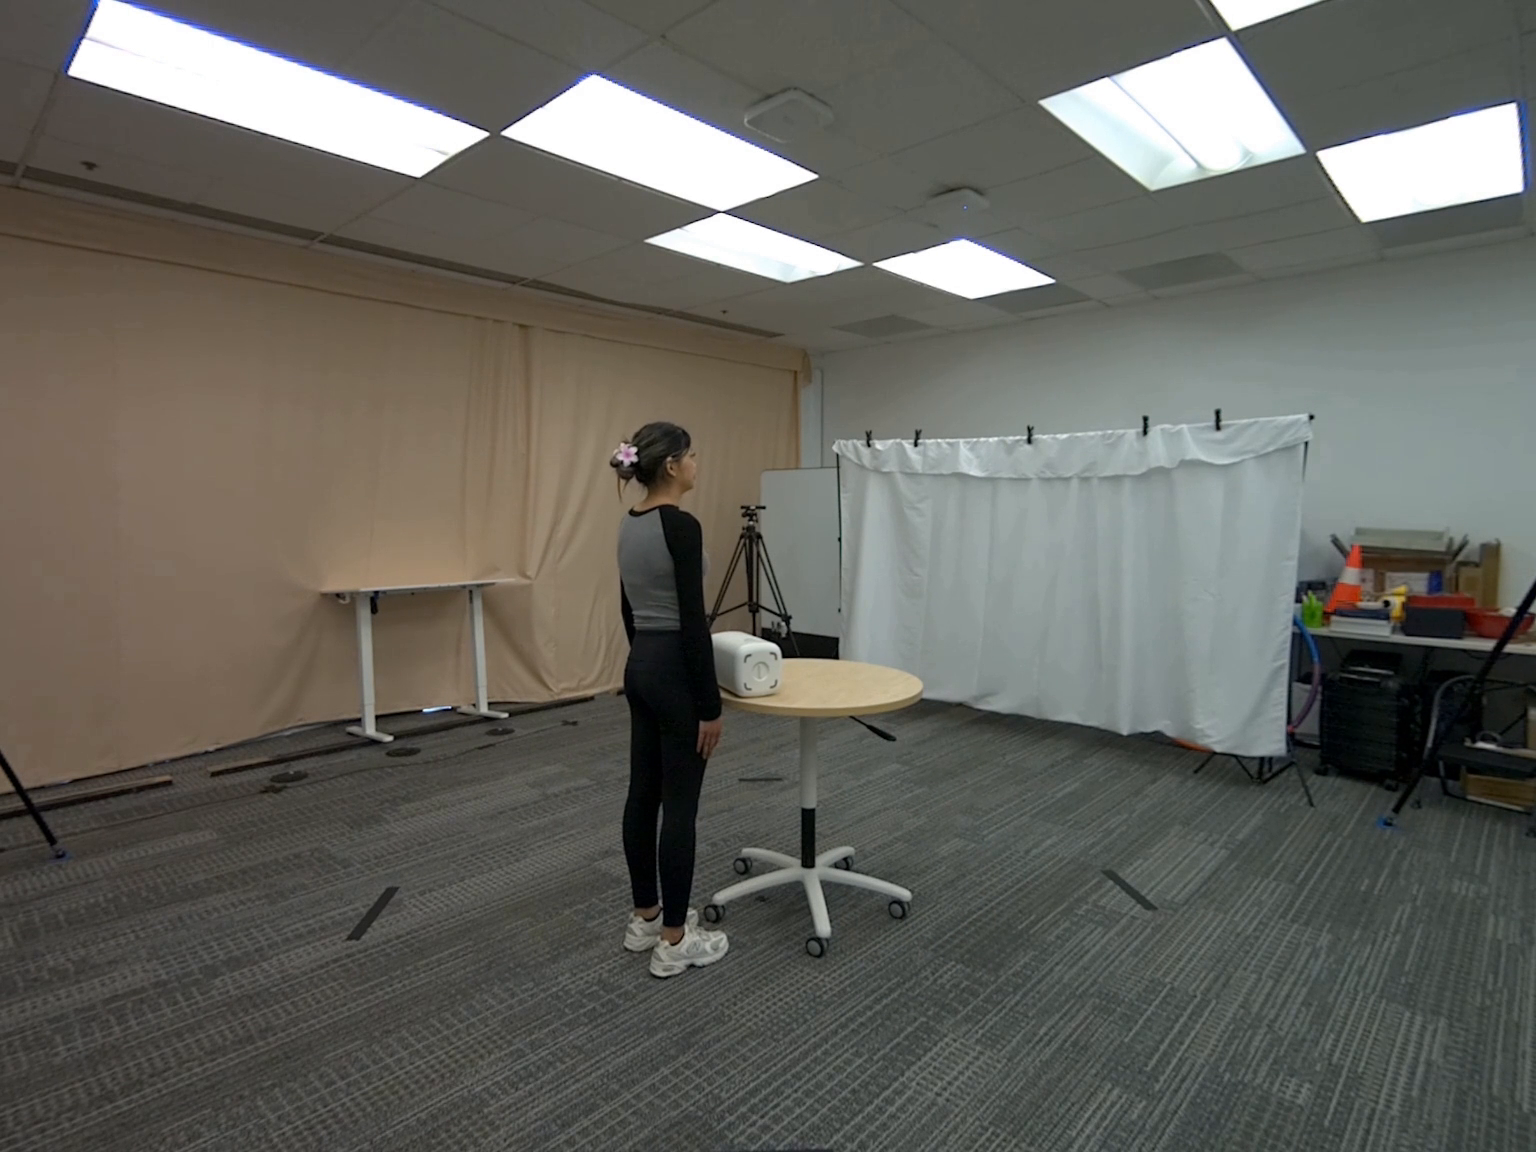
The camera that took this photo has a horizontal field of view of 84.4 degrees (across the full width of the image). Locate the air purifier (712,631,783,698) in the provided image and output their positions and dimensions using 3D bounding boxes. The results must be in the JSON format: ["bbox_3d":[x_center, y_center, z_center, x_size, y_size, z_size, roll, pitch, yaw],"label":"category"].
[{"bbox_3d":[-0.074,0.285,2.743,0.167,0.171,0.272,-2,6,-26],"label":"air purifier"}]
